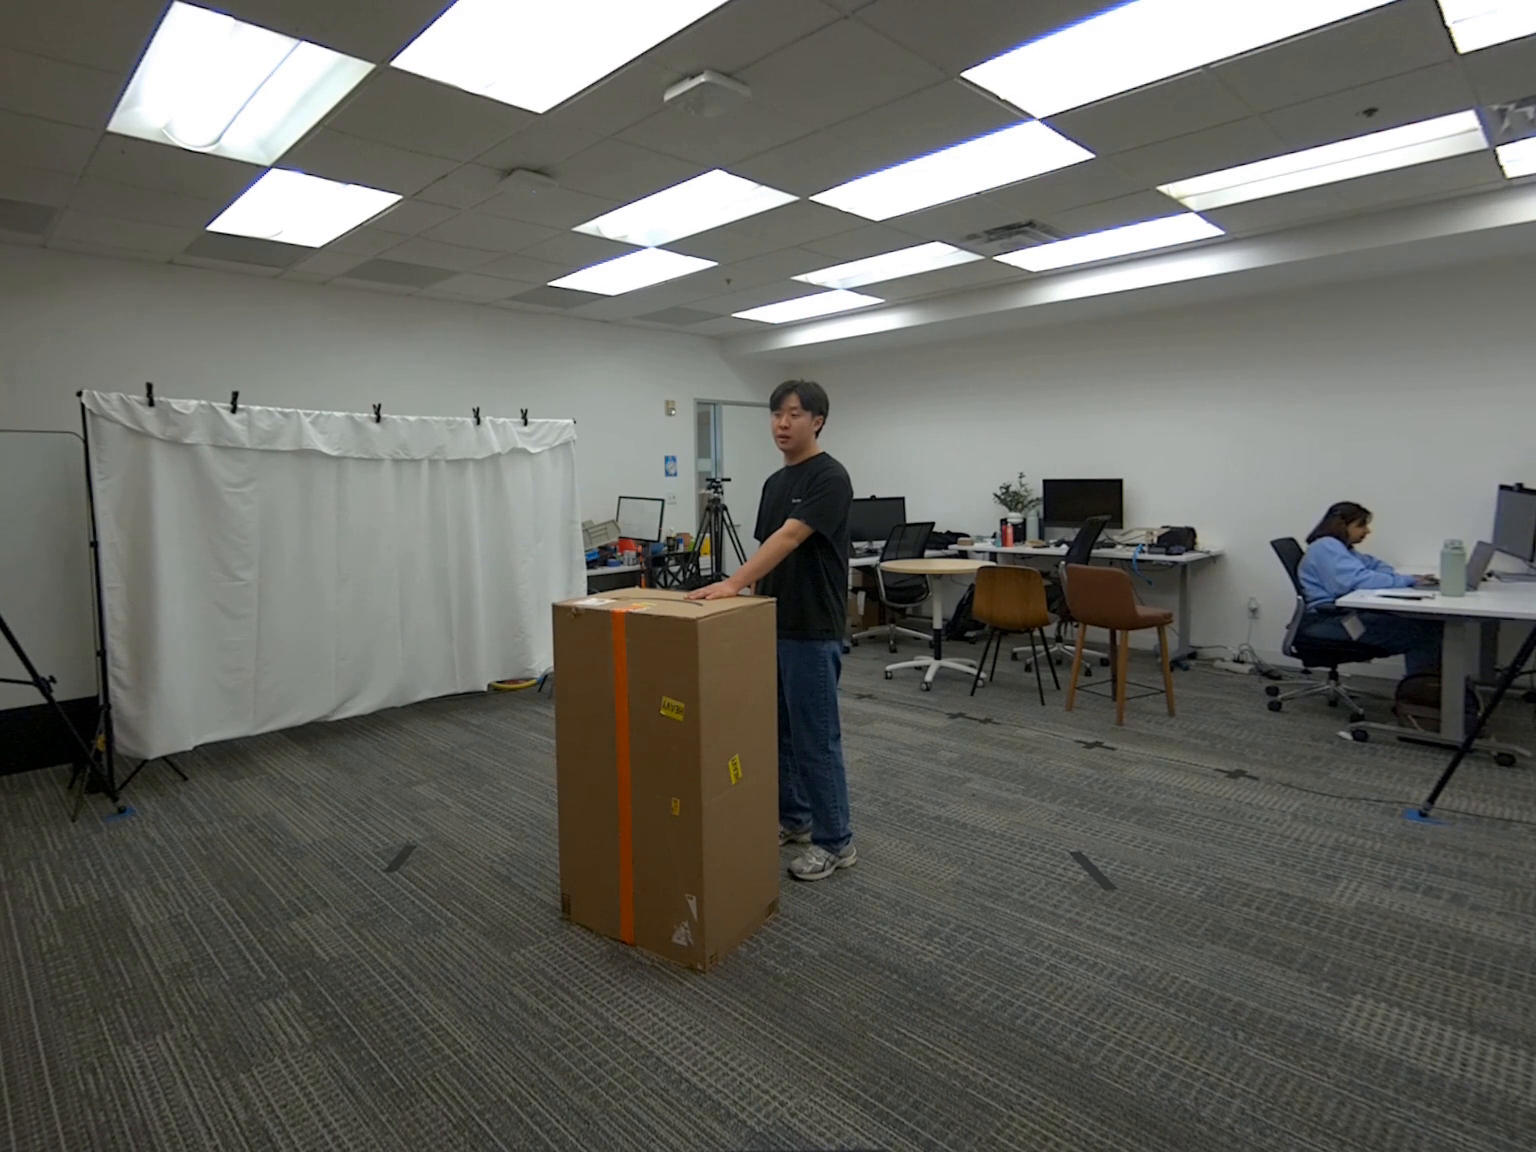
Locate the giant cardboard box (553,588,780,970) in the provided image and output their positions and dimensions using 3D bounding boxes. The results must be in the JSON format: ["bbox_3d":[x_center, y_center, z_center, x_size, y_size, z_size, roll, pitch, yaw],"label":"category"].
[{"bbox_3d":[-0.322,0.580,2.714,0.601,1.022,0.436,3,6,35],"label":"giant cardboard box"}]
